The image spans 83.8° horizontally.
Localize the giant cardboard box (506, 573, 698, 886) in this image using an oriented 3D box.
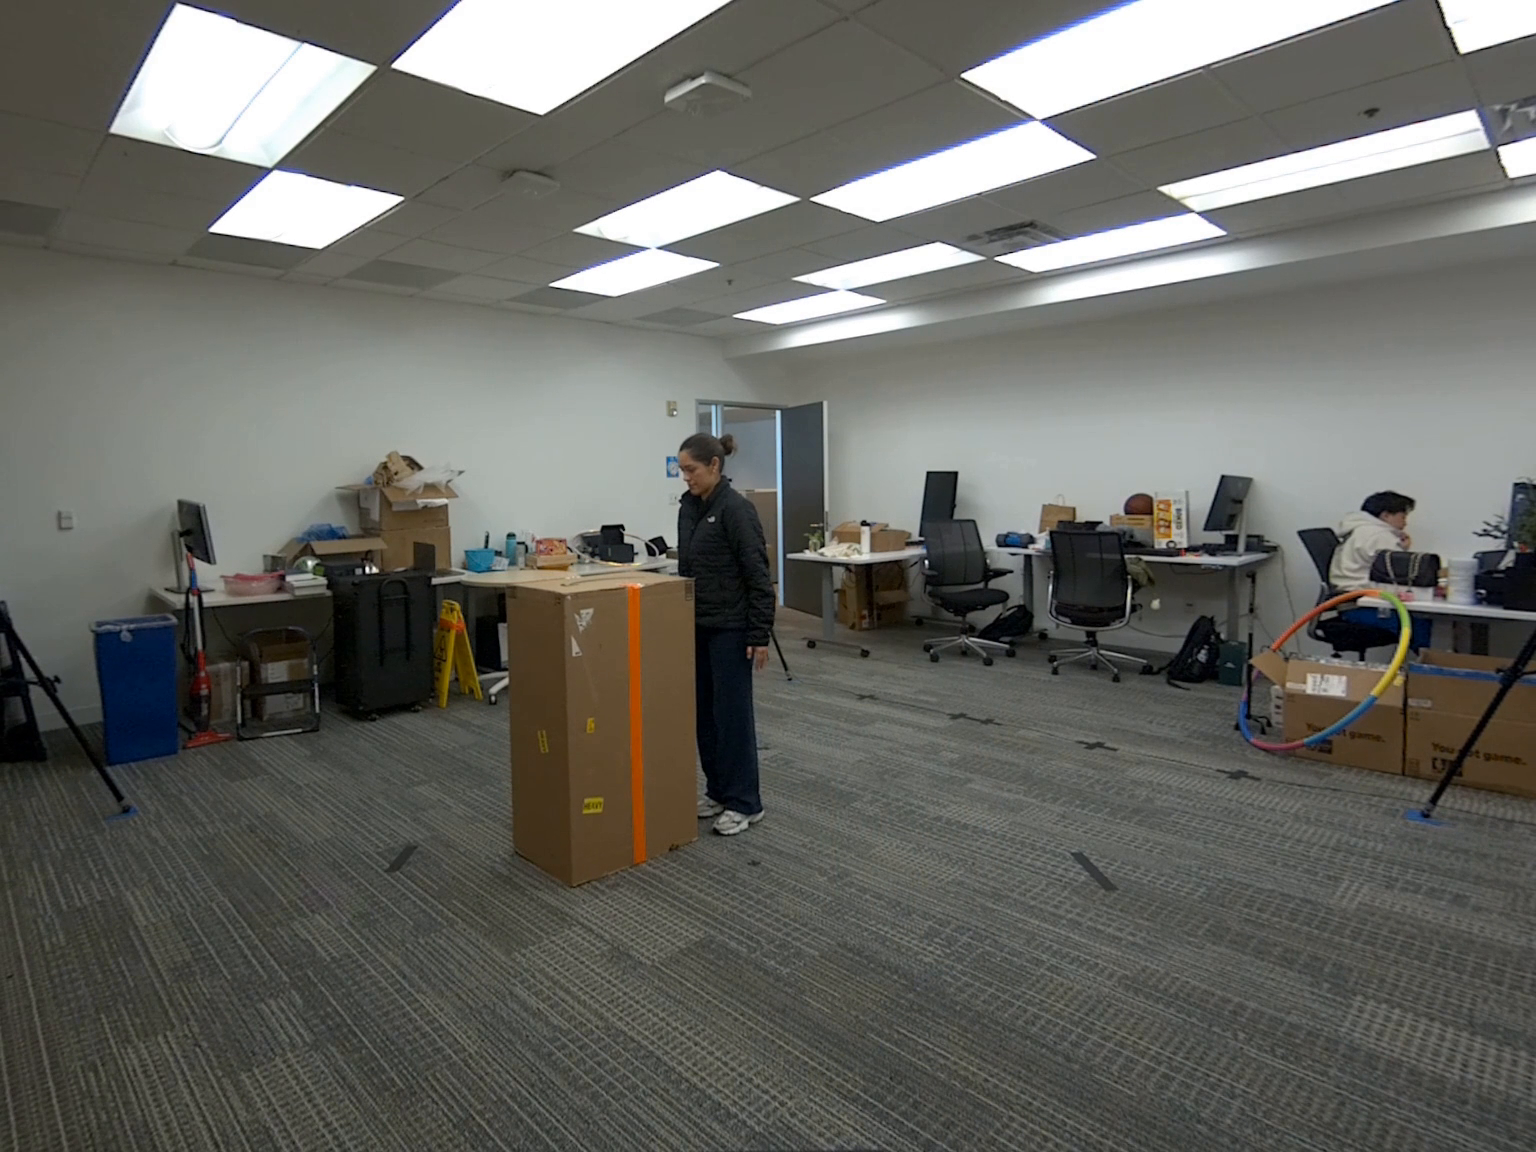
[{"bbox_3d":[-0.630,0.529,3.256,0.562,1.022,0.439,-5,5,-43],"label":"giant cardboard box"}]
